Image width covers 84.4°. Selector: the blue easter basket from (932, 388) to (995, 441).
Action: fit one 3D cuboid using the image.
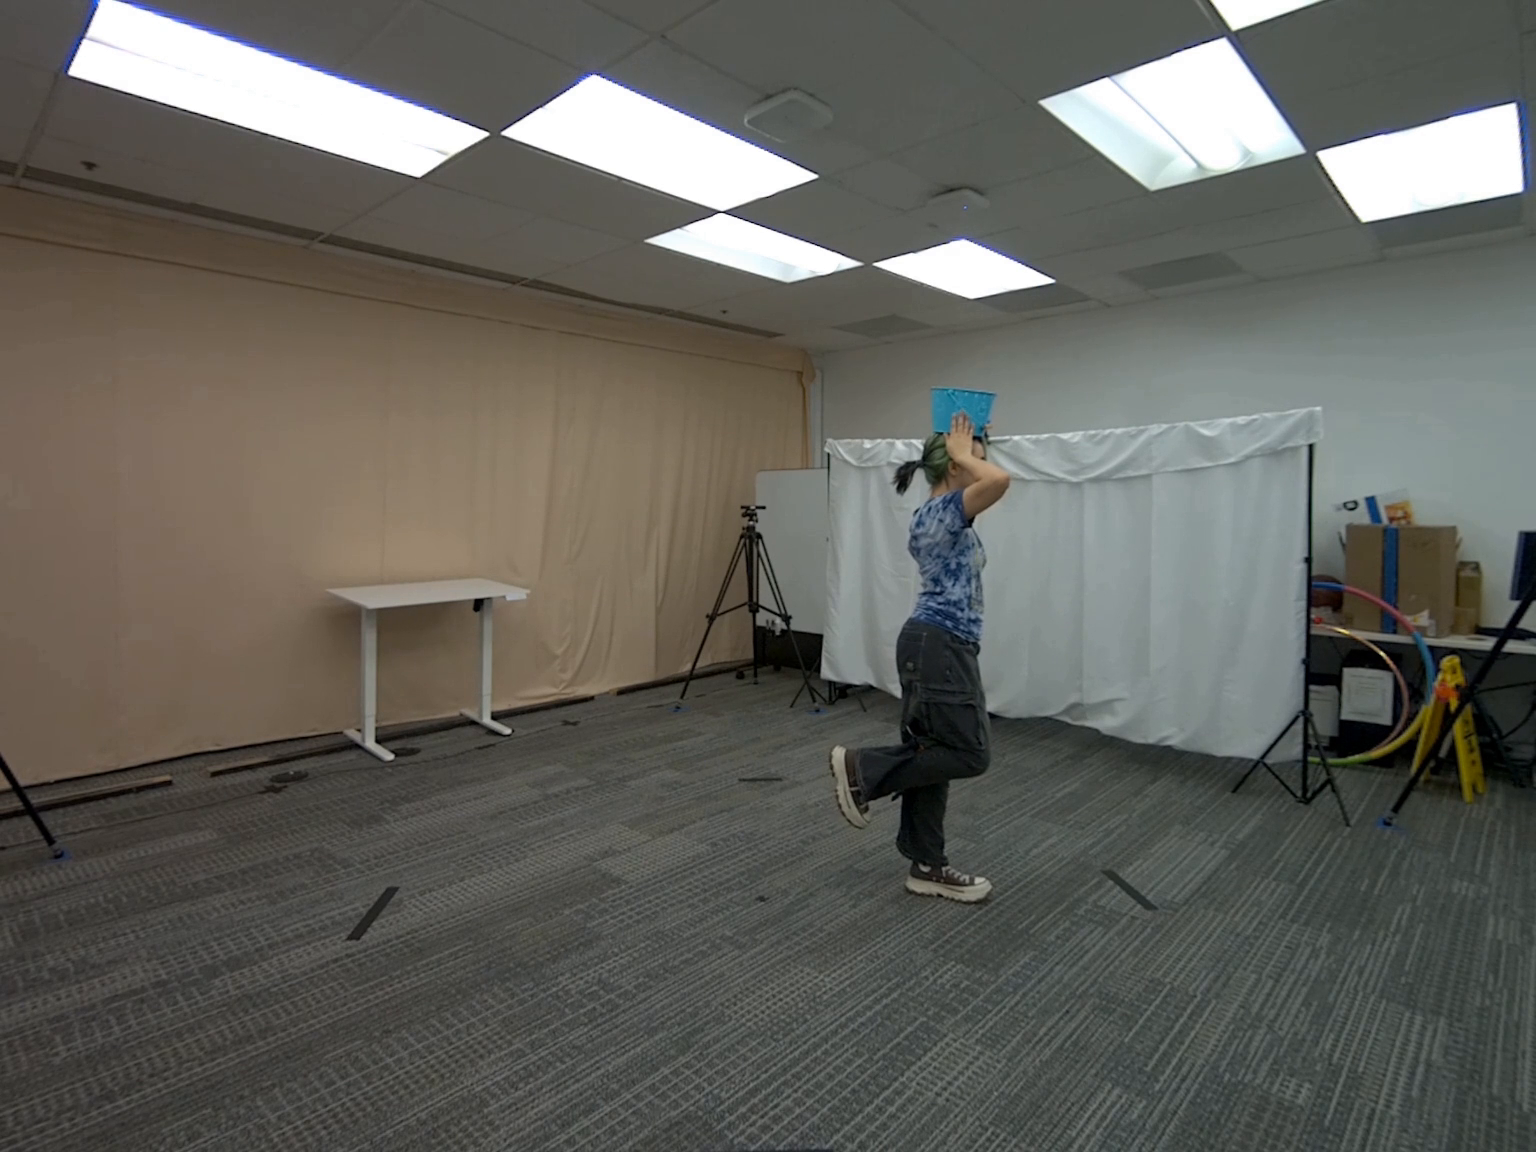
[{"bbox_3d":[0.692,-0.578,2.994,0.243,0.155,0.245,6,10,-3],"label":"blue easter basket"}]
